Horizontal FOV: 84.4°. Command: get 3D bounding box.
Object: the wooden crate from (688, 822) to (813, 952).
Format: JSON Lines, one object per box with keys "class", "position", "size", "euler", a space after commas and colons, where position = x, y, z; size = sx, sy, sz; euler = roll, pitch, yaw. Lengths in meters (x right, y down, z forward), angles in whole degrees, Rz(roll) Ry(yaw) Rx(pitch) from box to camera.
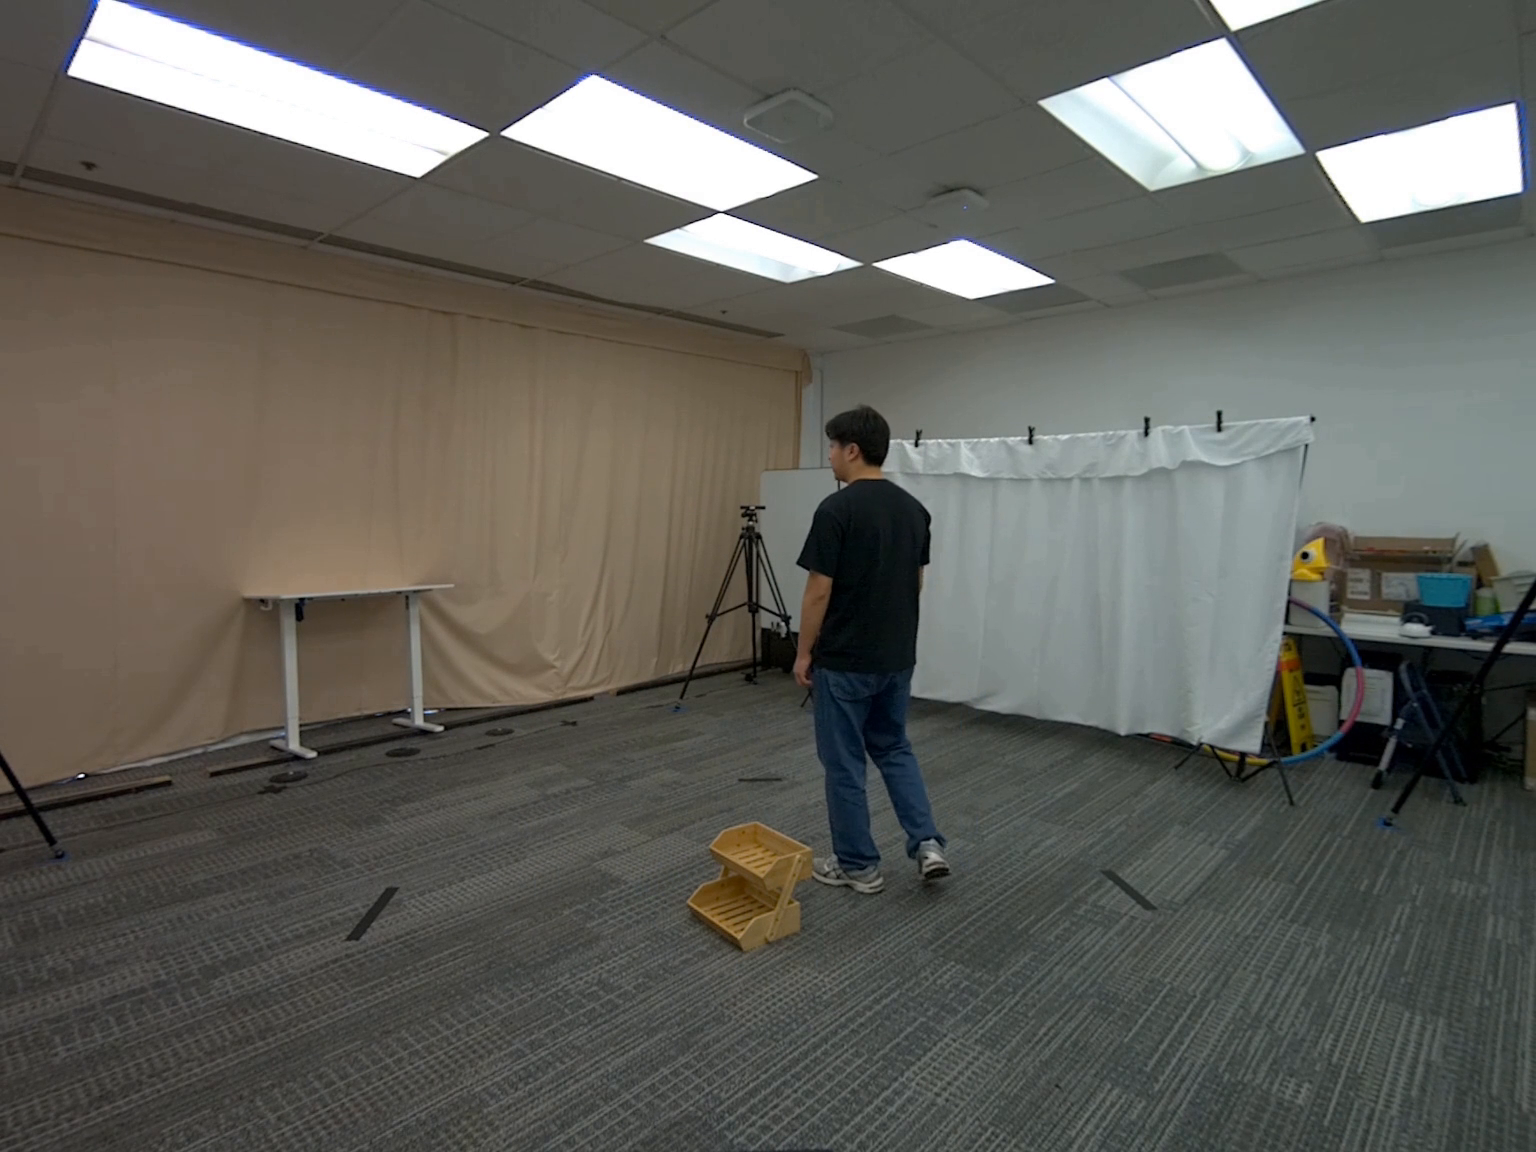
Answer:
{"class": "wooden crate", "position": [-0.063, 1.025, 2.816], "size": [0.293, 0.273, 0.335], "euler": [-3, 5, -38]}
